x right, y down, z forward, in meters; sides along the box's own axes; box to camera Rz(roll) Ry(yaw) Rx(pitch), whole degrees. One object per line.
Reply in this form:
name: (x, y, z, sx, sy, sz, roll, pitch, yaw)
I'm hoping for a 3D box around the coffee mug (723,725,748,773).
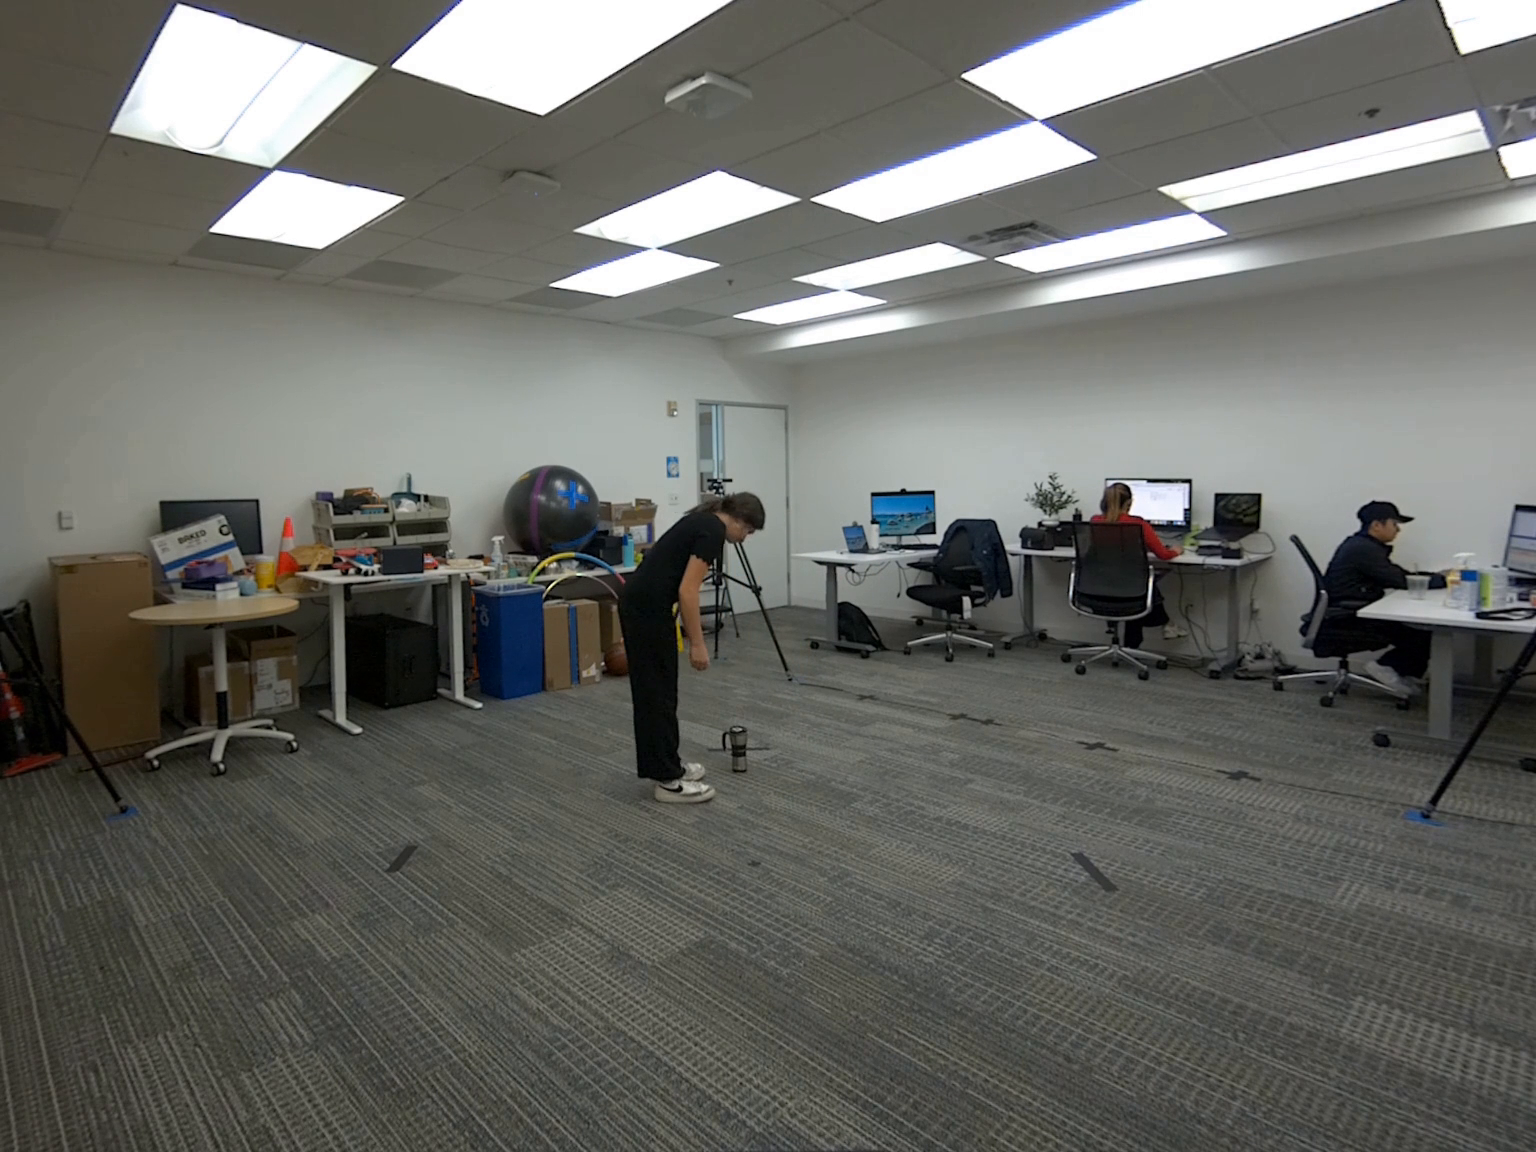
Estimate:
coffee mug: (-0.162, 0.833, 4.125, 0.126, 0.201, 0.086, 7, 10, 42)
